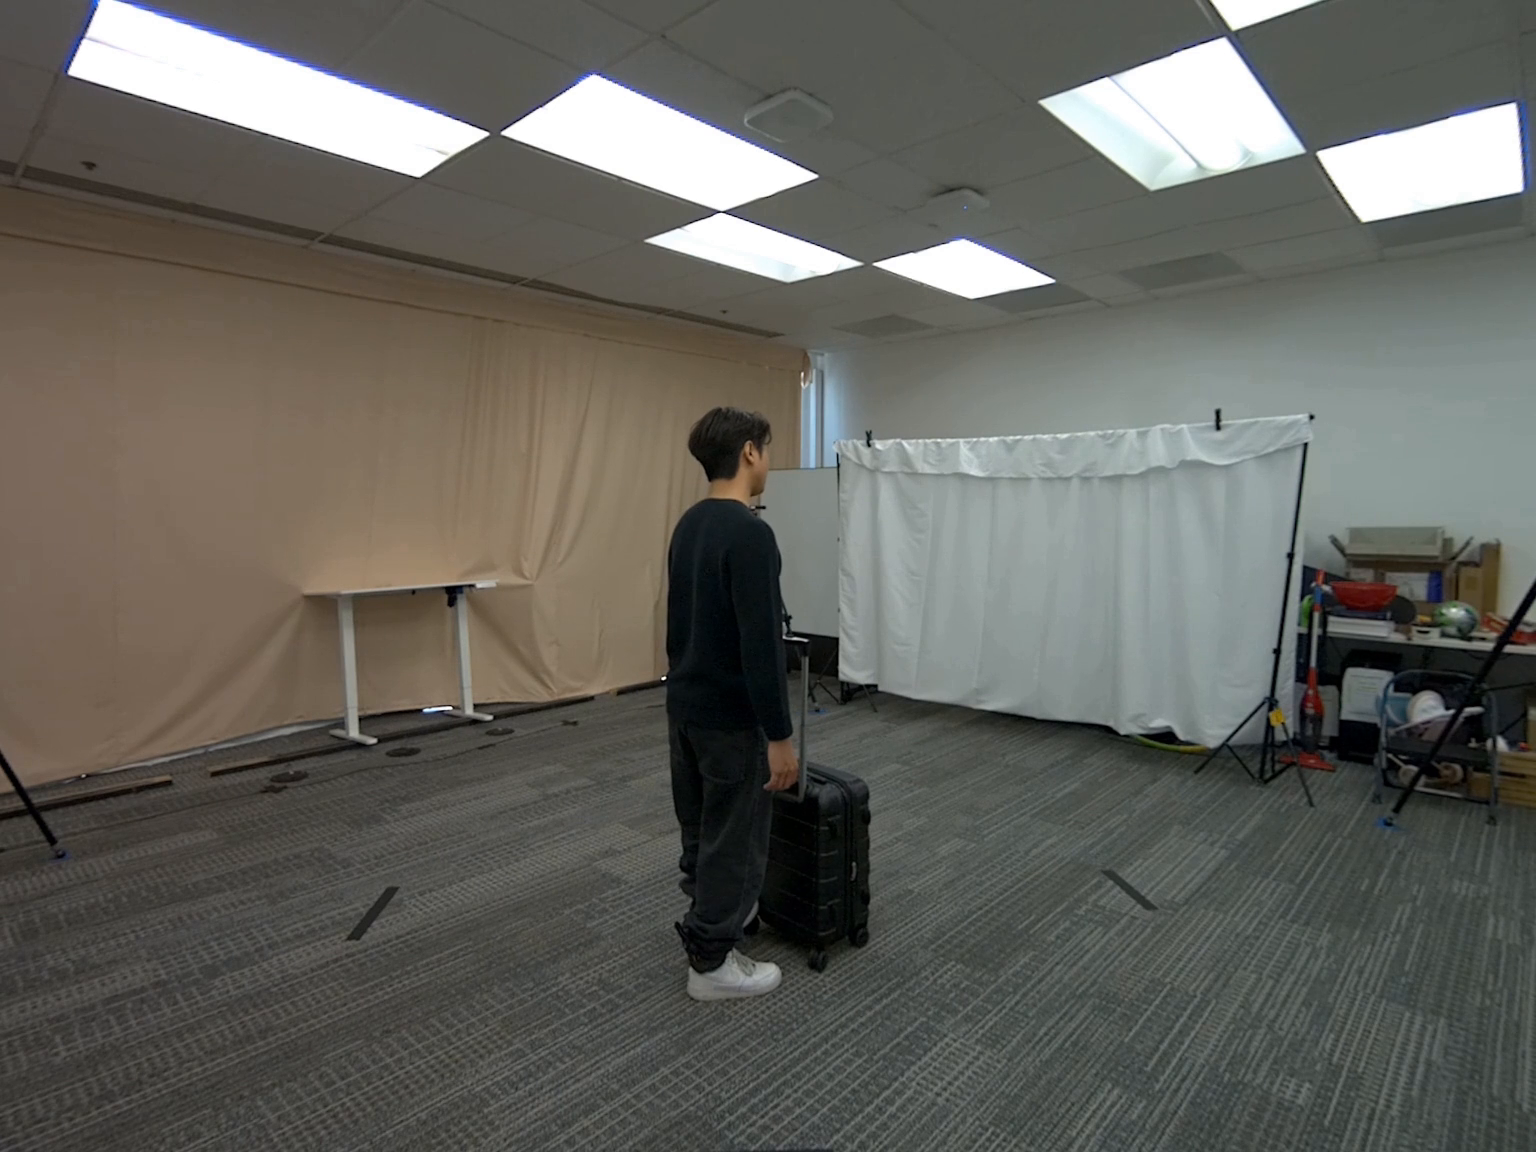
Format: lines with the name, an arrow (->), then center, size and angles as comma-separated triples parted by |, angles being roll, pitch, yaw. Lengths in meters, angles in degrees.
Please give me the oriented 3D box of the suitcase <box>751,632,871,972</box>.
suitcase -> 0.146, 0.690, 2.714 | 0.249, 0.978, 0.397 | 1, 1, -43
